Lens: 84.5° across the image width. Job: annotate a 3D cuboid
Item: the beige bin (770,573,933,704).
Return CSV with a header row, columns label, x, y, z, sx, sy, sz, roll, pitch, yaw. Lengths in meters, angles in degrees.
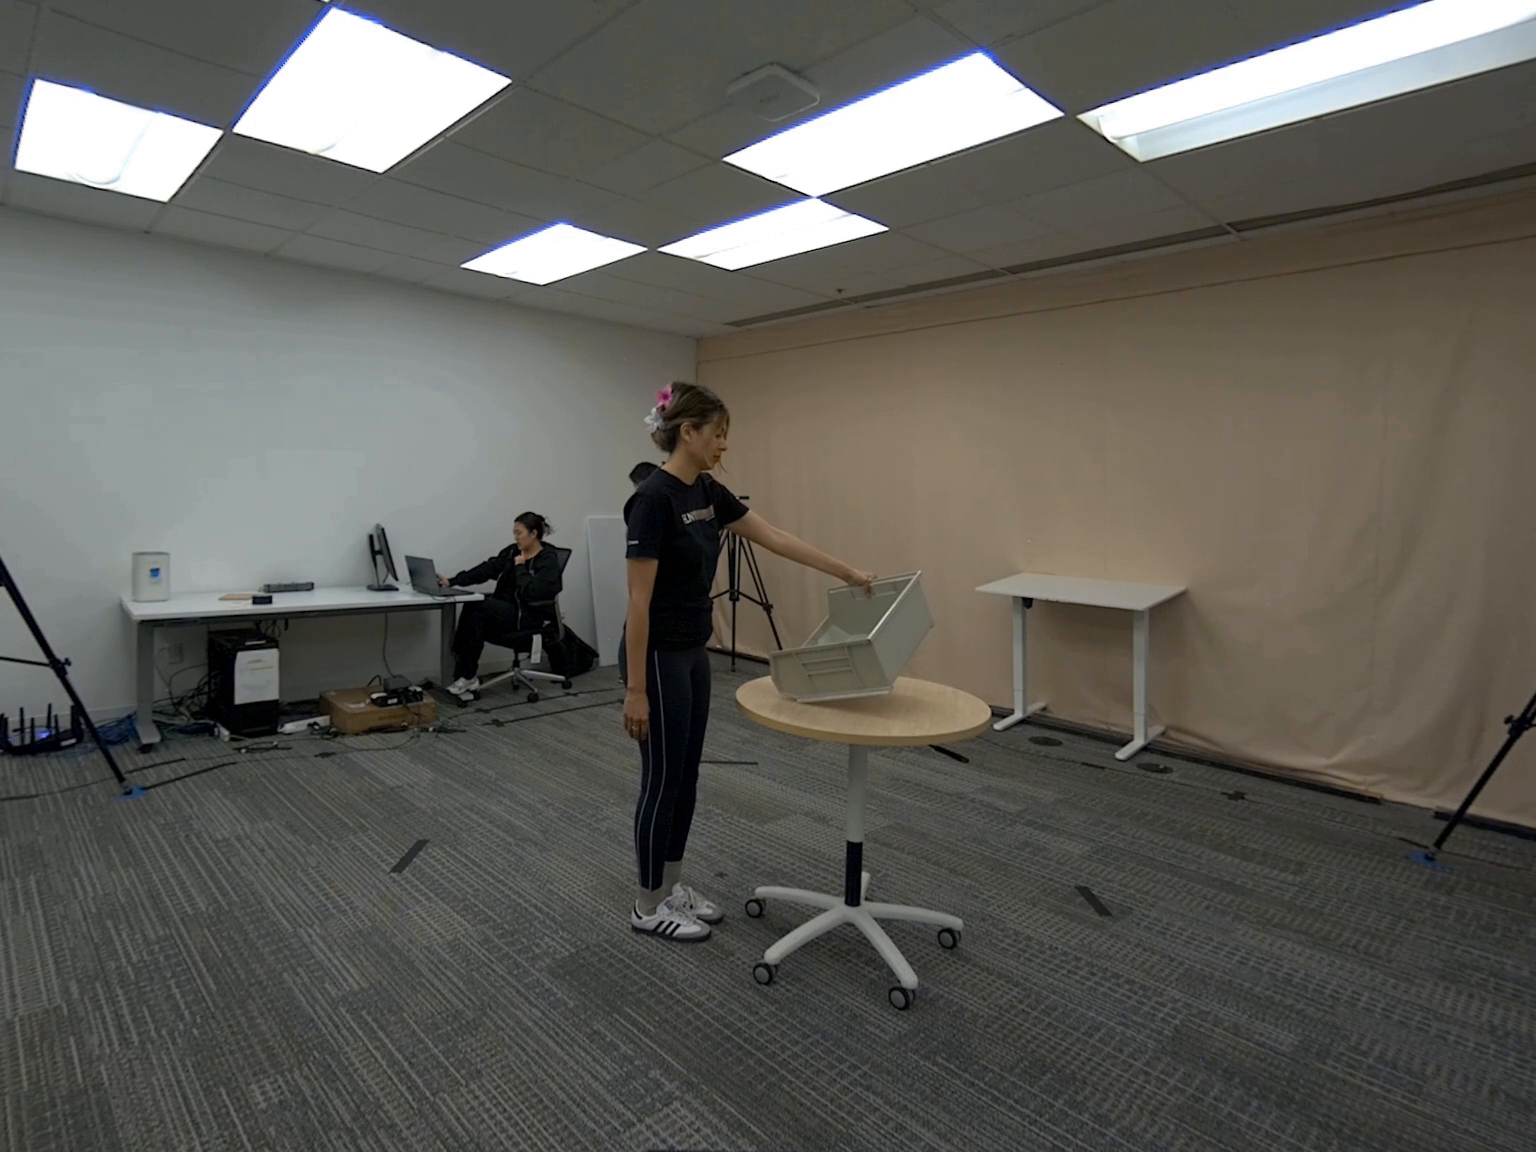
label,x,y,z,sx,sy,sz,roll,pitch,yaw
beige bin,0.253,0.189,2.550,0.384,0.186,0.420,-13,18,36
